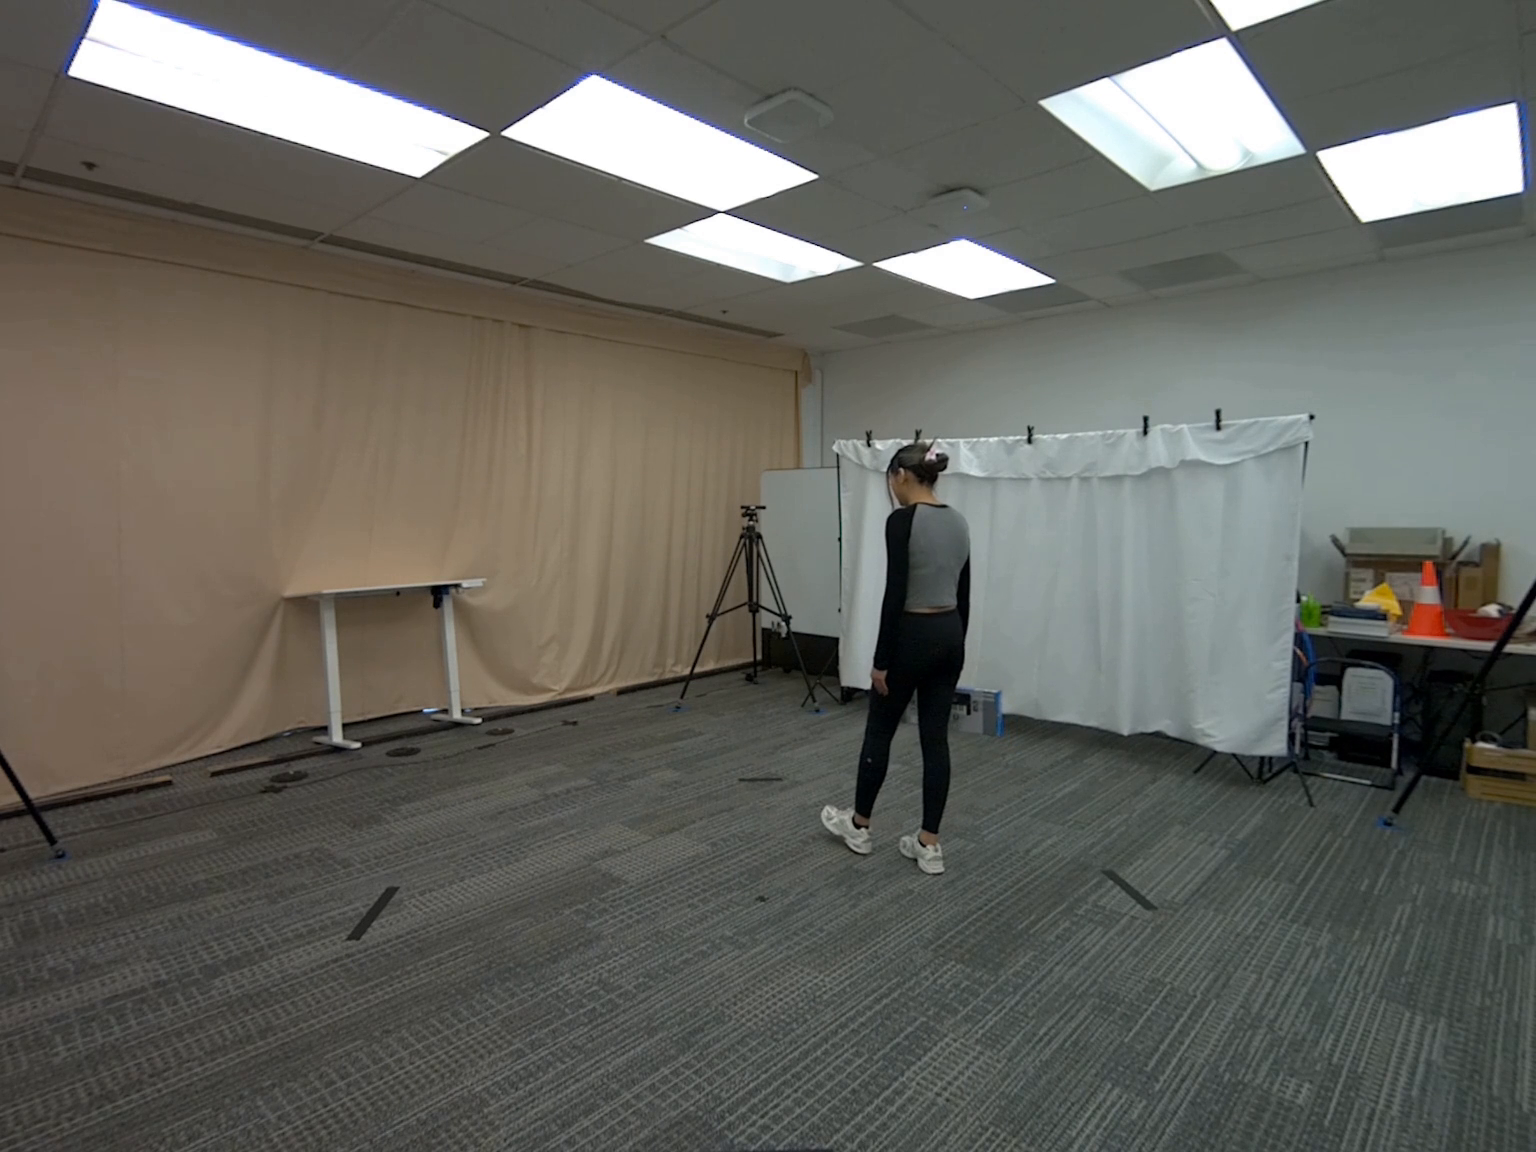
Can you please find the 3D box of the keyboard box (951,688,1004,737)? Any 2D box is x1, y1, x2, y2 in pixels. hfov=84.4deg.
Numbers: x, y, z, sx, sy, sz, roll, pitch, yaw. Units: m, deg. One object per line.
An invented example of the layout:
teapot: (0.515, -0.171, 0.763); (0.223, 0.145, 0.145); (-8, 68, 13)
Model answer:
keyboard box: (0.728, 0.533, 3.417); (0.451, 0.176, 0.057); (1, 3, 37)
